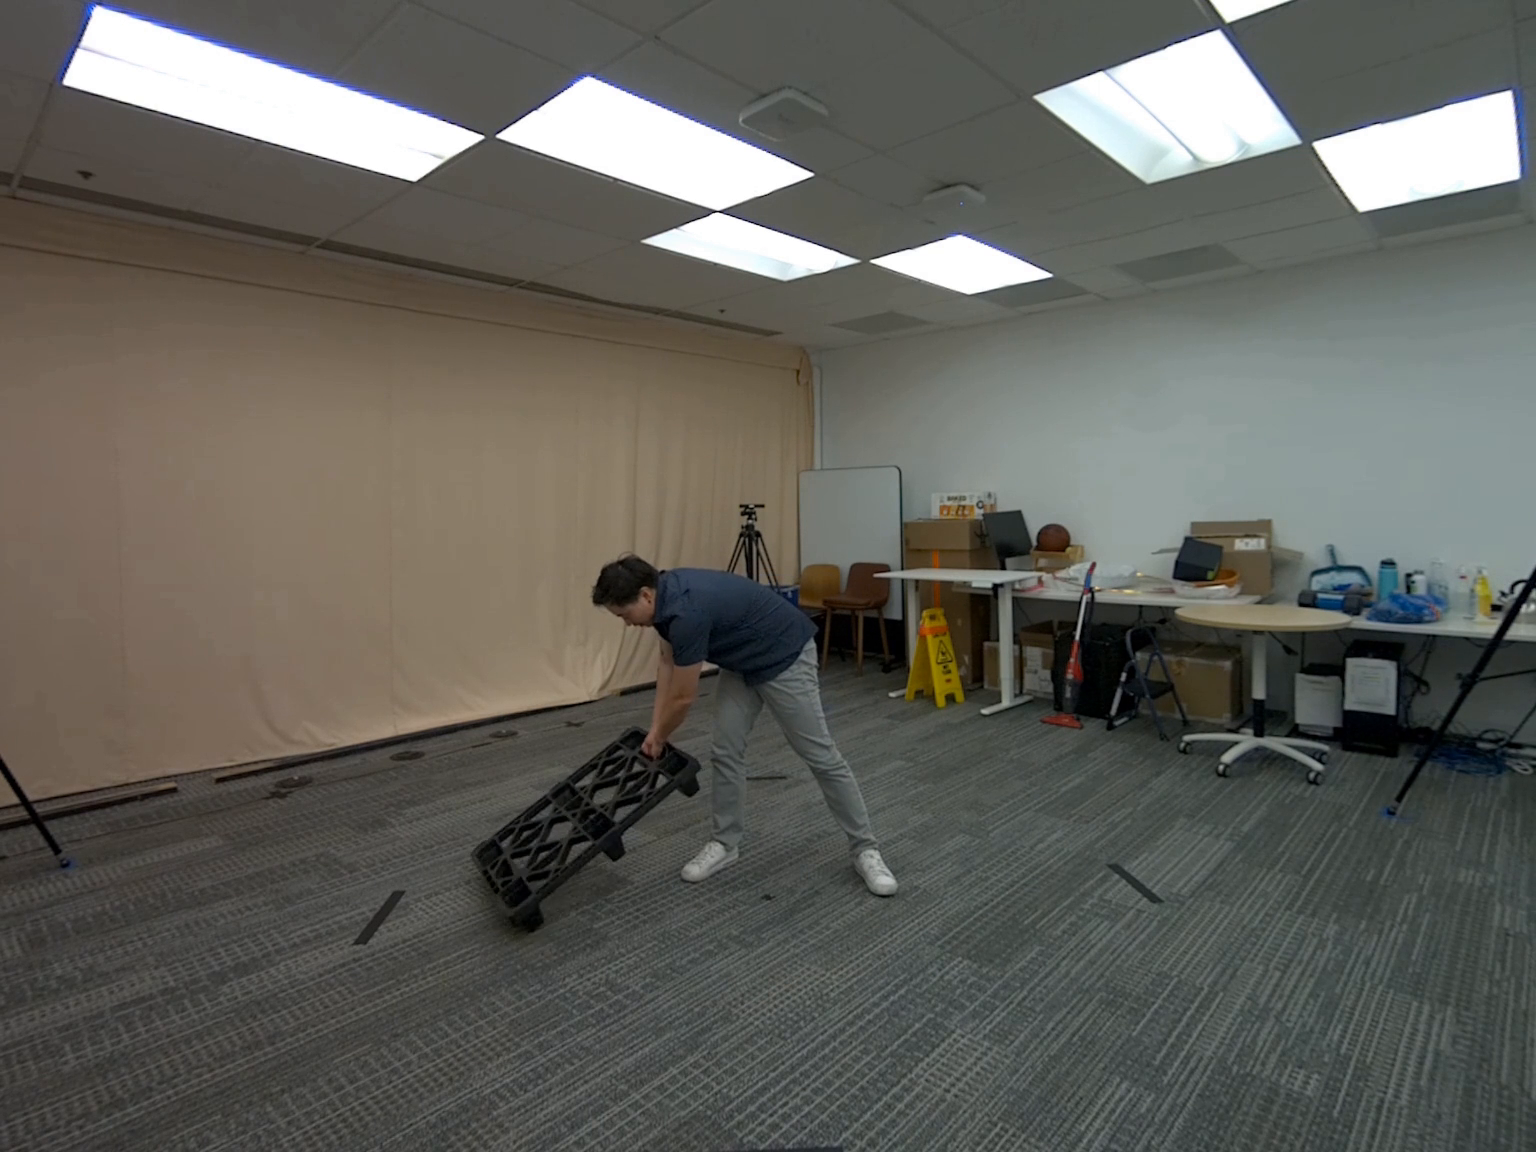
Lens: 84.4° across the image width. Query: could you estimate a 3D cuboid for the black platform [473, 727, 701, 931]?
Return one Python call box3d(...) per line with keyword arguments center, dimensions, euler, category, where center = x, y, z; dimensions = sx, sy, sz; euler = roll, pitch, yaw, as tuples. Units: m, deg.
box3d(center=(-0.645, 0.903, 3.094), dimensions=(0.797, 0.140, 0.623), euler=(-37, 21, -23), category="black platform")
